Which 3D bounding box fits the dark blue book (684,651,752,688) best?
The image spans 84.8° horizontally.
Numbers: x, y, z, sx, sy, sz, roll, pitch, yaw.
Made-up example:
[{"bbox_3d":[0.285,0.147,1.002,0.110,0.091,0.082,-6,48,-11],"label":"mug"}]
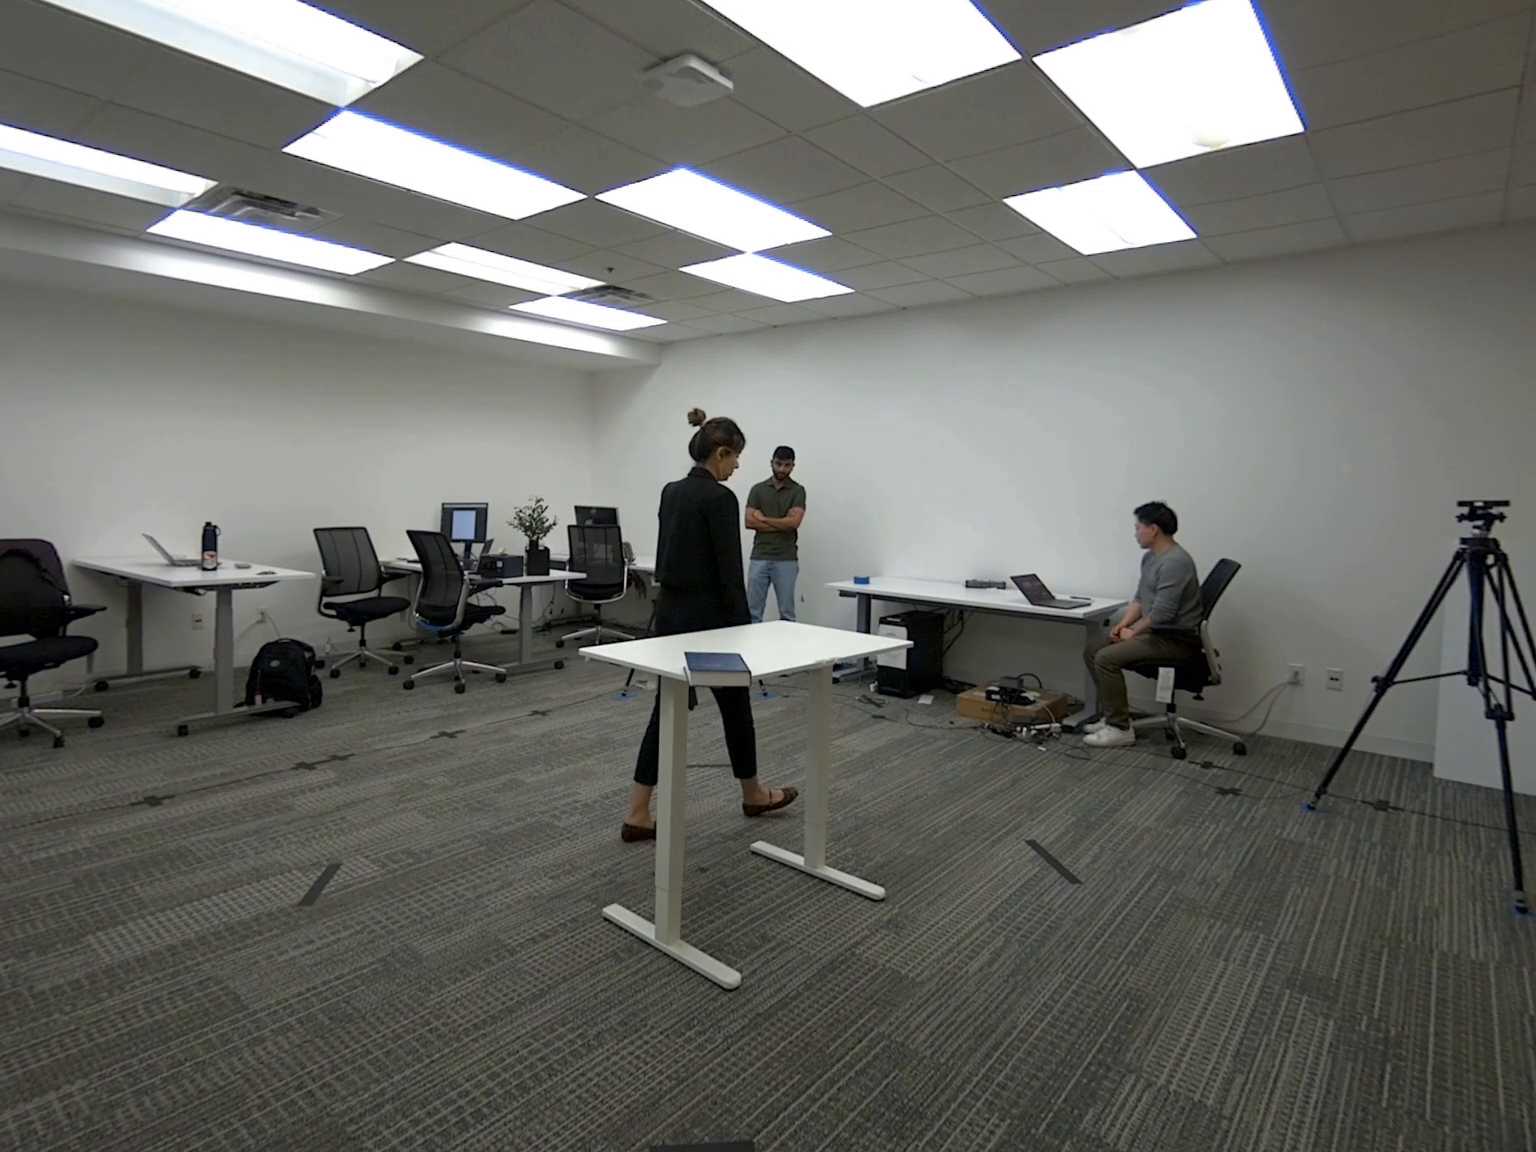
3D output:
[{"bbox_3d":[-0.143,0.247,2.295,0.162,0.045,0.248,1,6,-8],"label":"dark blue book"}]
